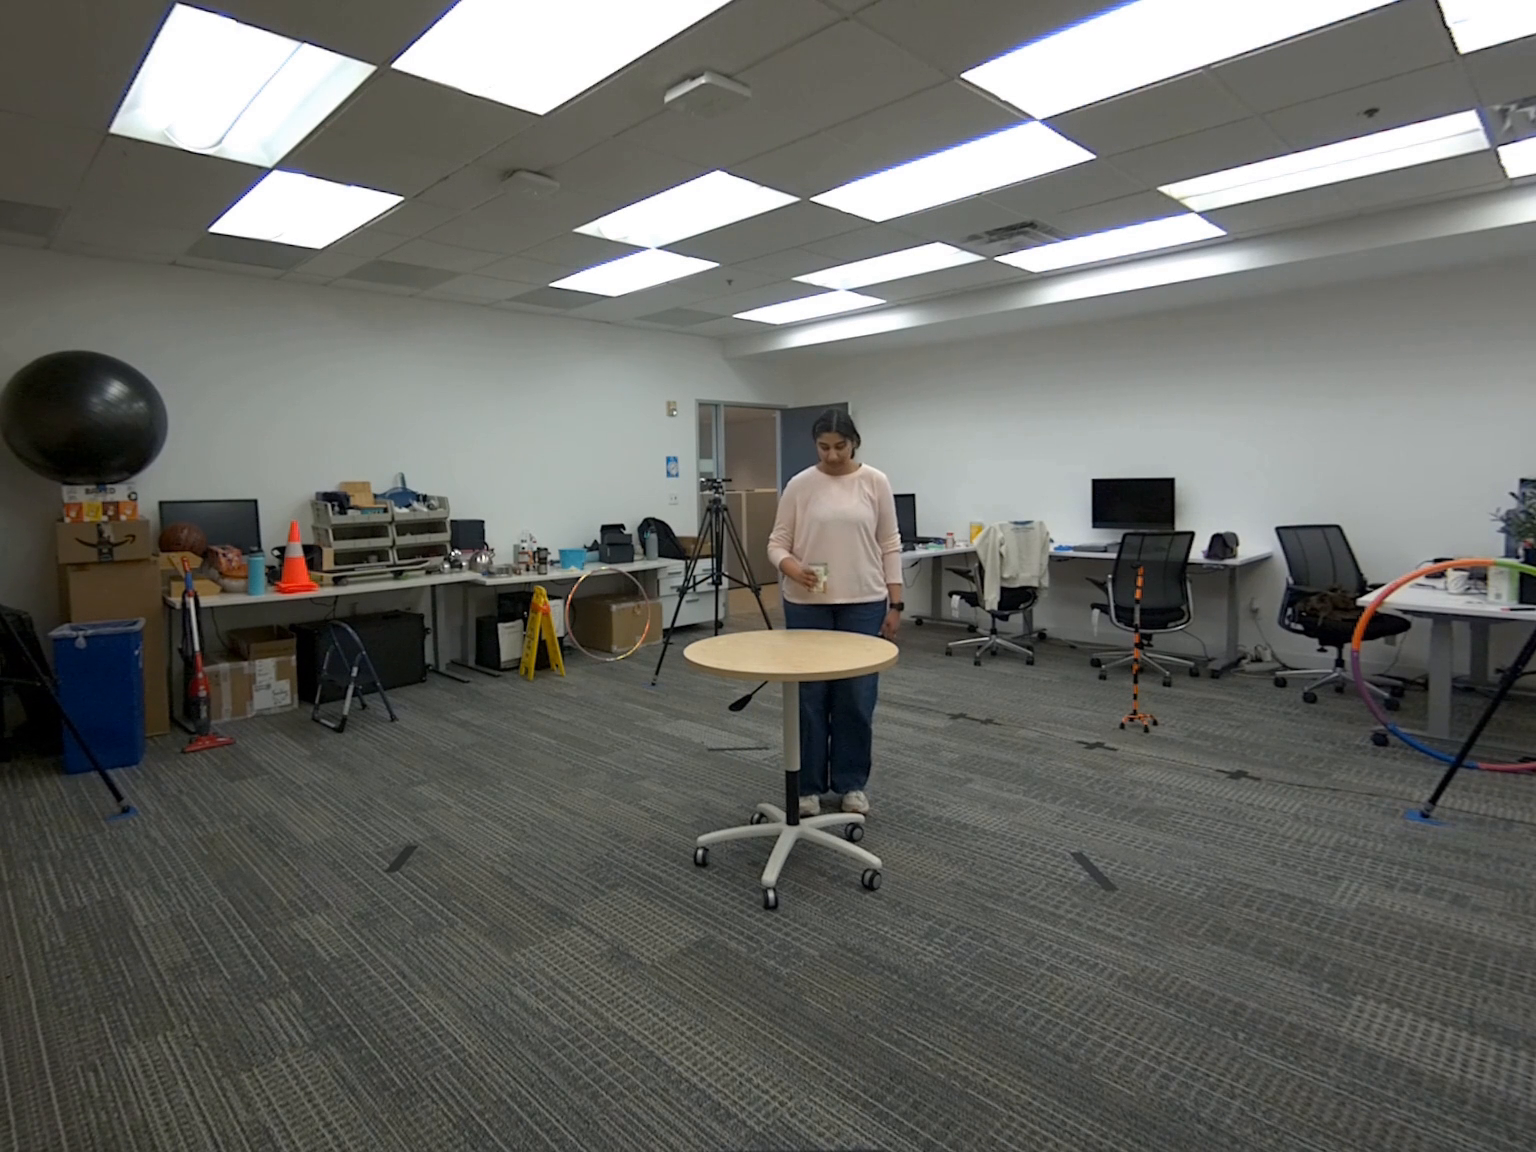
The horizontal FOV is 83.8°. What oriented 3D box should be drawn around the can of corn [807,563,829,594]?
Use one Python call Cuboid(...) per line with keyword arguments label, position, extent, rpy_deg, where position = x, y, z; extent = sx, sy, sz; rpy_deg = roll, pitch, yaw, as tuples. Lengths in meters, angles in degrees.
Cuboid(label="can of corn", position=(0.190, 0.013, 3.325), extent=(0.074, 0.111, 0.074), rpy_deg=(-1, 4, -2))
